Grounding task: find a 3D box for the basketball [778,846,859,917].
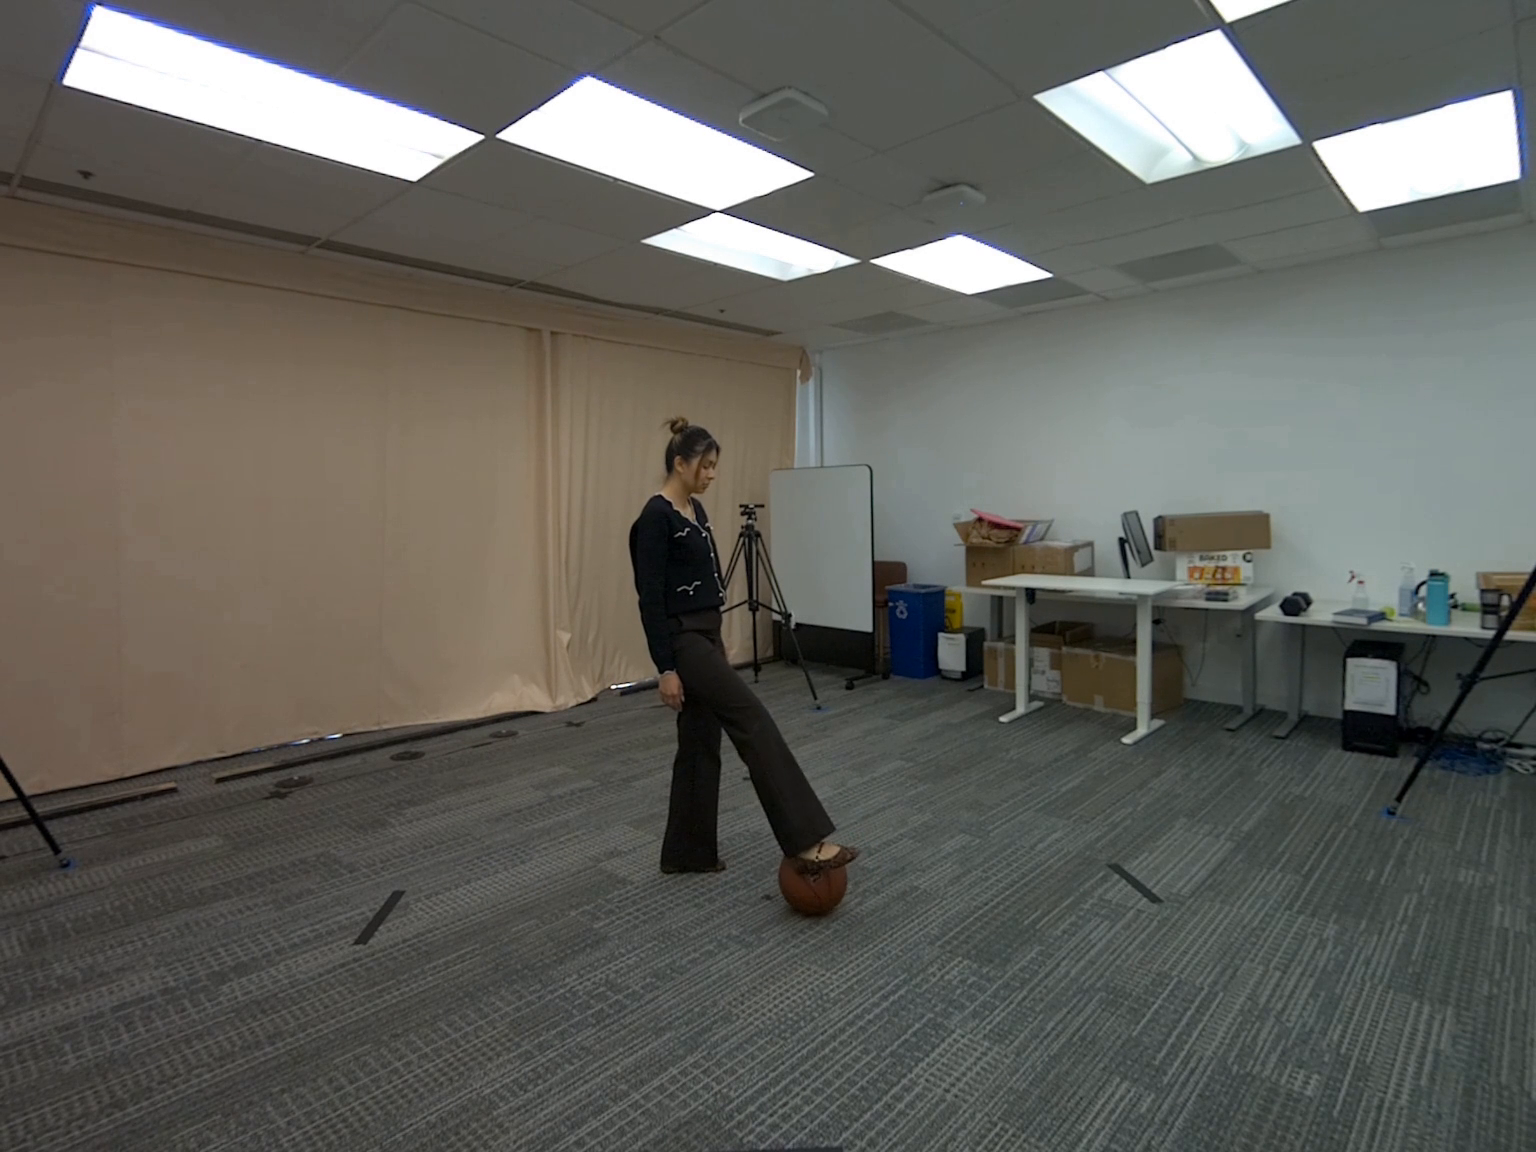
[{"bbox_3d":[0.159,1.028,2.879,0.236,0.235,0.237,-1,4,-2],"label":"basketball"}]
